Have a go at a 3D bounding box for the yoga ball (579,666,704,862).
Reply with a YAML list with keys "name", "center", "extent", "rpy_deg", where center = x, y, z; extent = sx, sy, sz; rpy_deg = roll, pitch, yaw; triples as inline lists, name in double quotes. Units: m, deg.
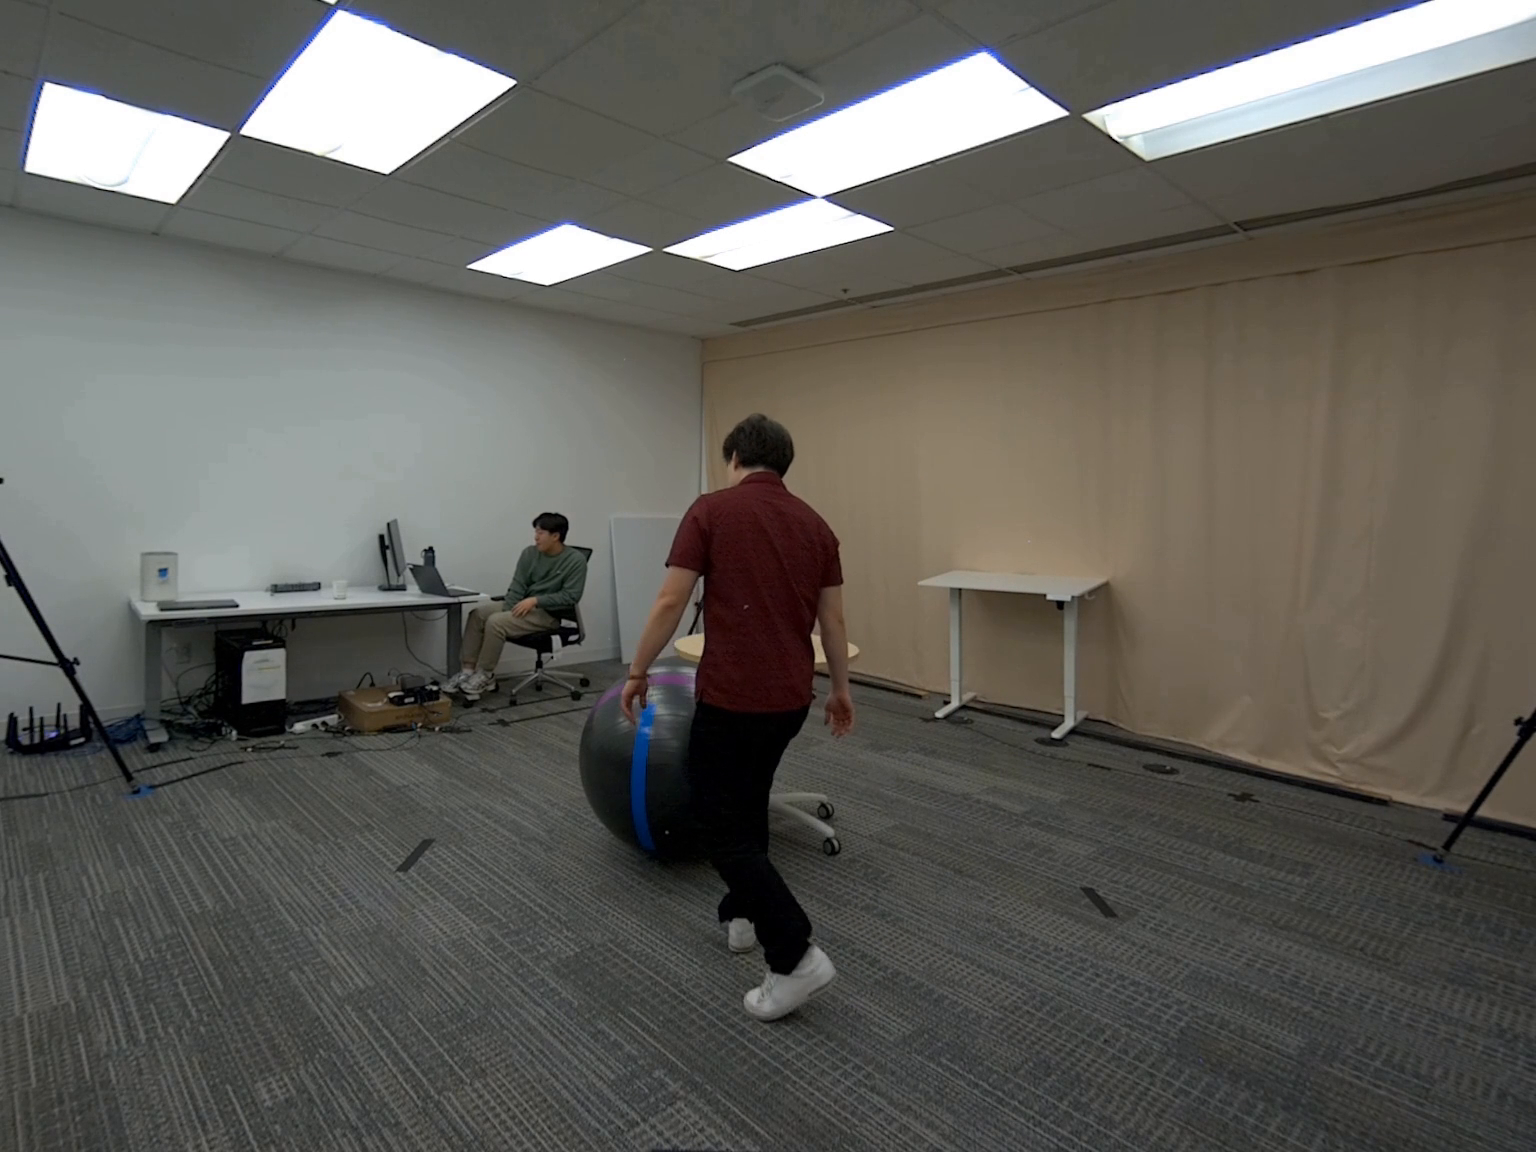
- name: "yoga ball"
  center: [-0.357, 0.708, 3.277]
  extent: [0.757, 0.756, 0.761]
  rpy_deg: [1, 4, -1]
